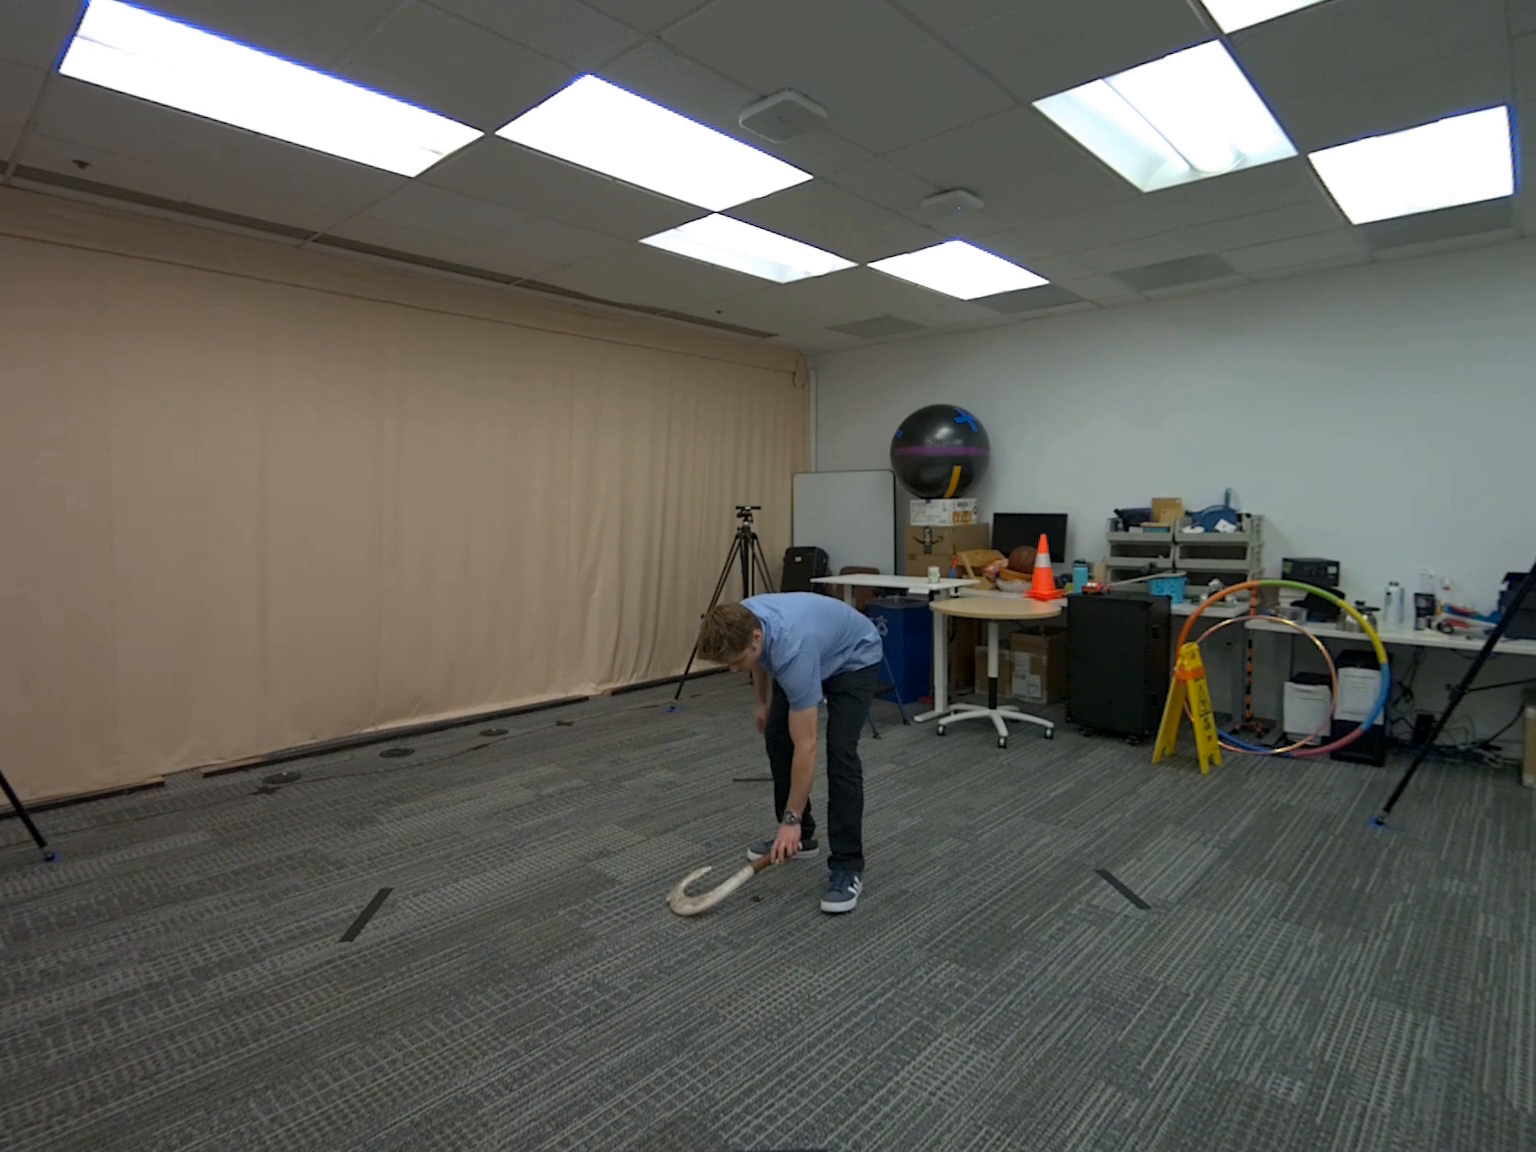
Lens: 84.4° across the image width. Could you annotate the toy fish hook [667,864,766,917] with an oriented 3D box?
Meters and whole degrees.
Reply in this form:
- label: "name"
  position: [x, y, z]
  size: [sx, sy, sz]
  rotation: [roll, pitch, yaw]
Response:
- label: "toy fish hook"
  position: [-0.123, 1.047, 2.978]
  size: [0.500, 0.047, 0.231]
  rotation: [-22, 19, -17]
